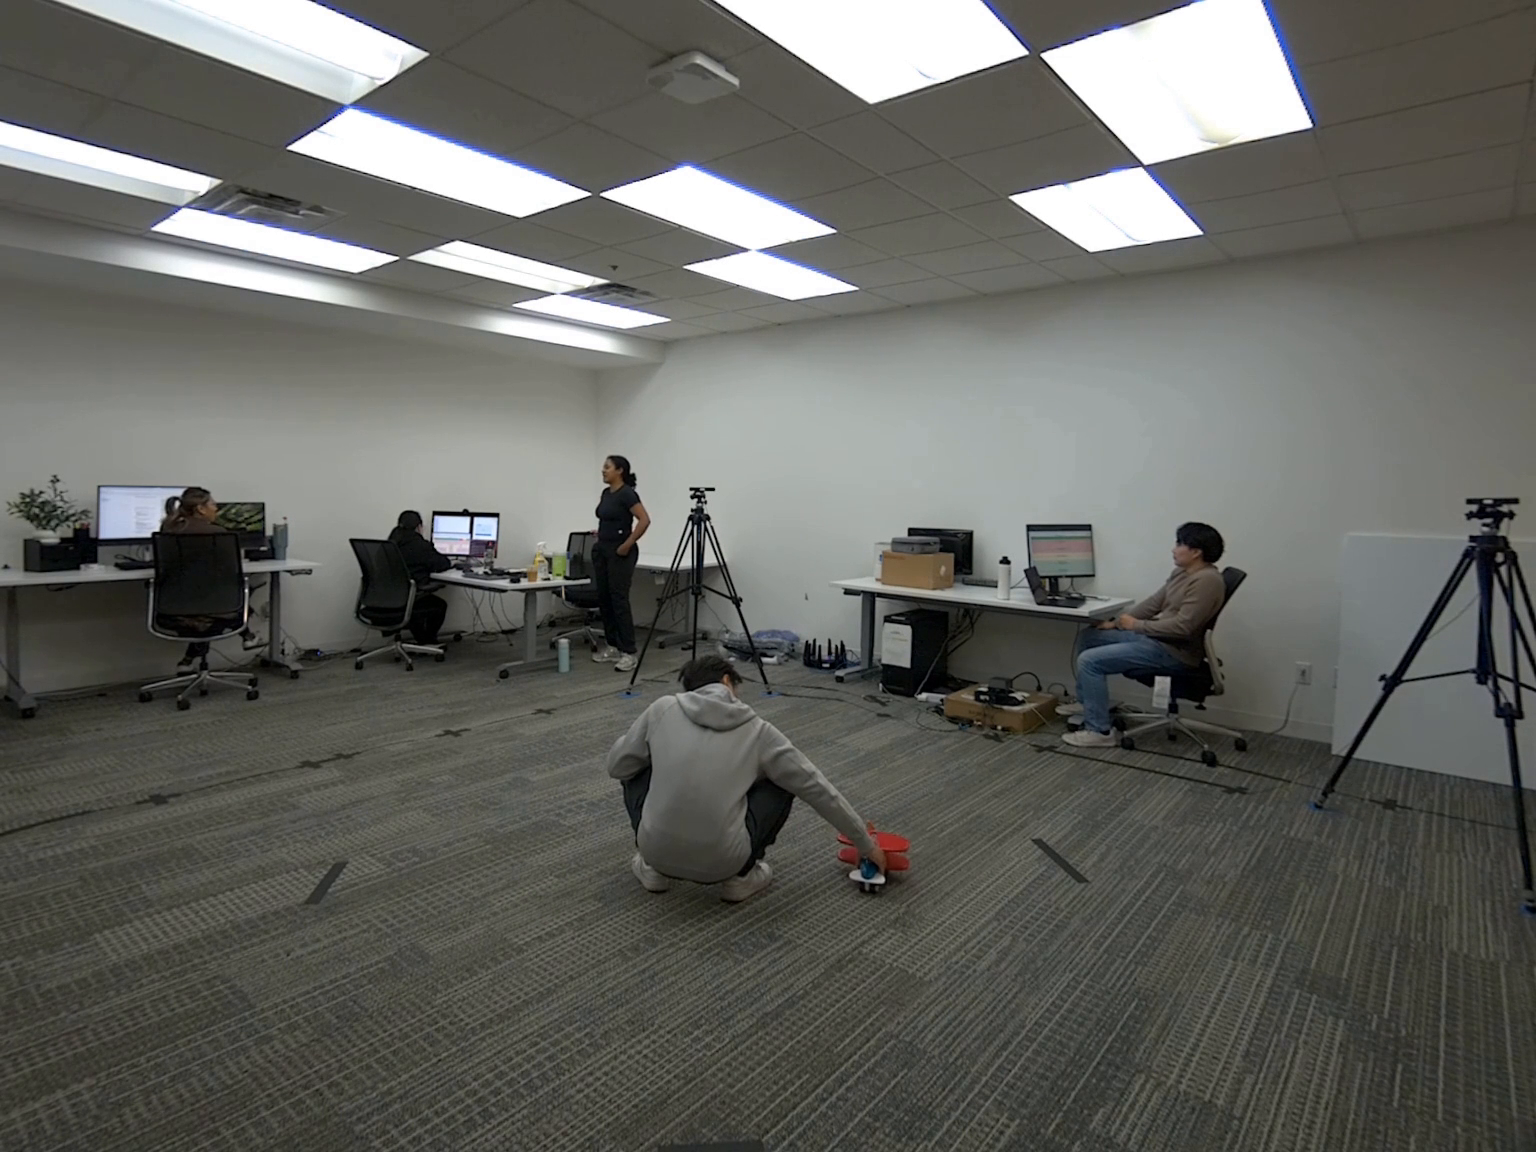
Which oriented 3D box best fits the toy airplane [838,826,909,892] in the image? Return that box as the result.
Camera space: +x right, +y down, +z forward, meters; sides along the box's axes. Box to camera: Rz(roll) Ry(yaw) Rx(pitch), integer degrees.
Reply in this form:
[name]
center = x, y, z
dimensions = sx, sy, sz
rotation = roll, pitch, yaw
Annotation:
[toy airplane]
center = 0.384, 1.019, 3.032
dimensions = 0.248, 0.156, 0.263
rotation = 0, 5, -12
